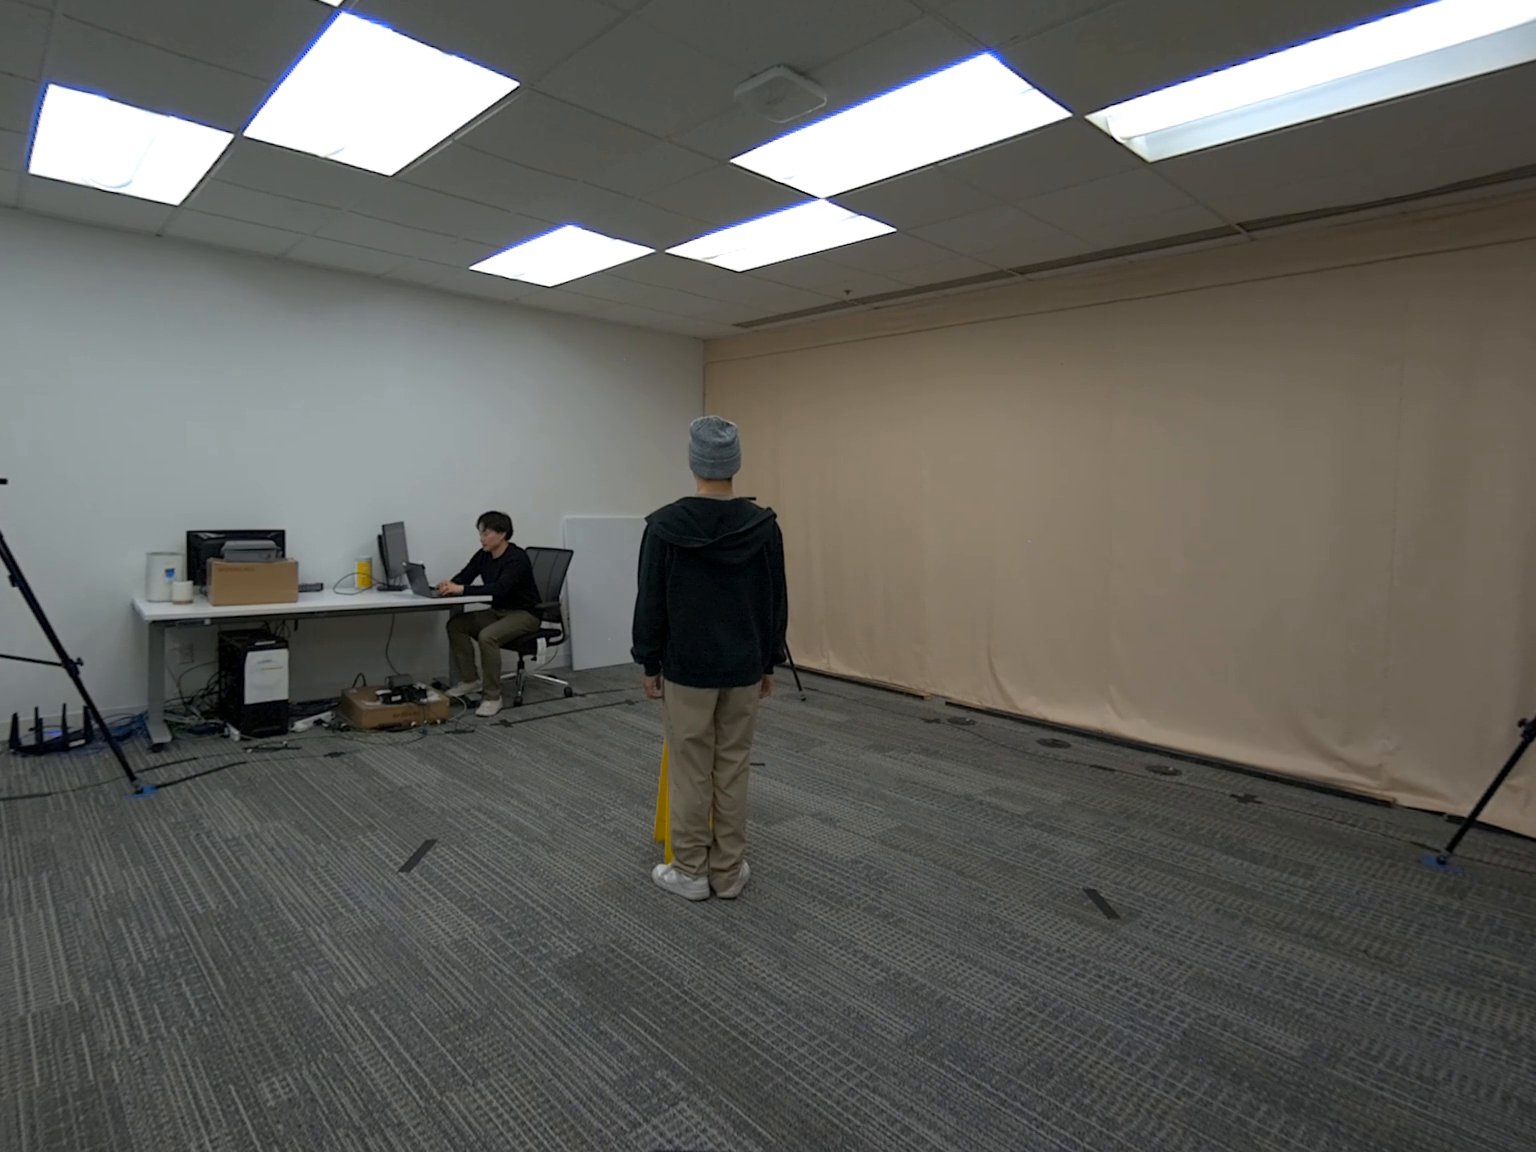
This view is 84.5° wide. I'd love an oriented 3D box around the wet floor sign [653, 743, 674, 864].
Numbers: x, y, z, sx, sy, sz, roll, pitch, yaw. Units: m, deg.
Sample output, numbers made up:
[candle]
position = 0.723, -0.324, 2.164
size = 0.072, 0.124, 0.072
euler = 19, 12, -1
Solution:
[wet floor sign]
position = -0.292, 0.759, 3.312
size = 0.279, 0.645, 0.293
euler = 2, 1, -15
